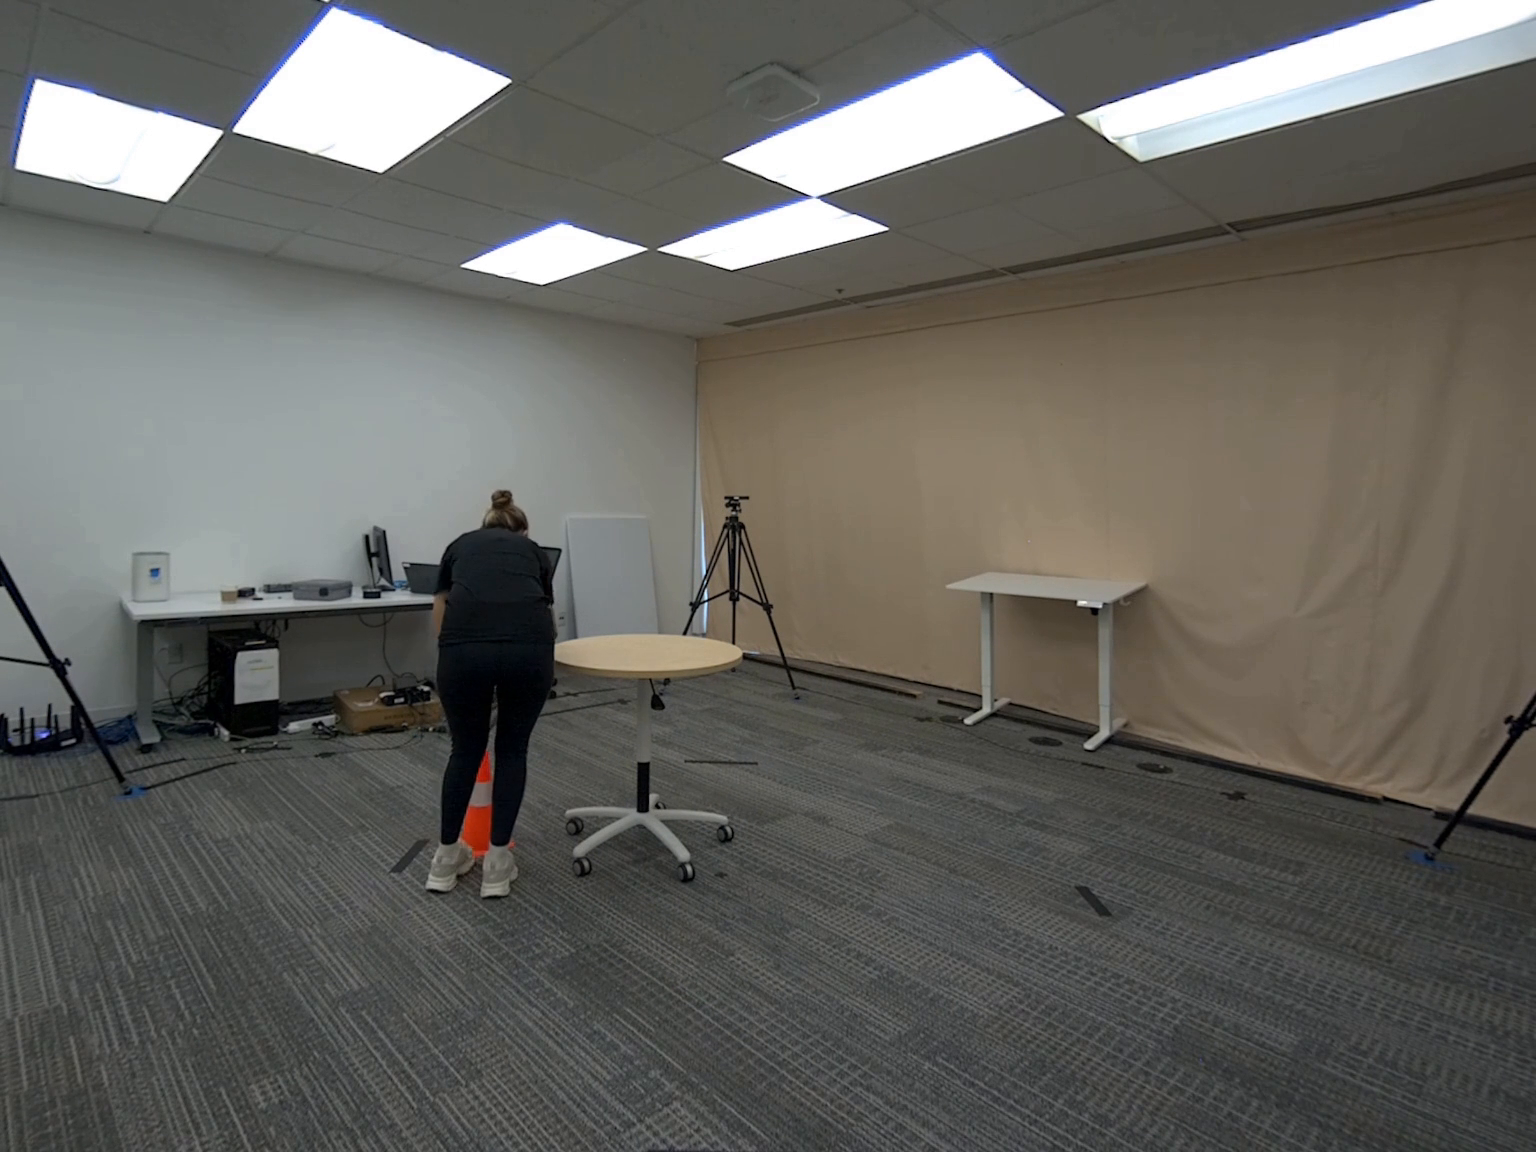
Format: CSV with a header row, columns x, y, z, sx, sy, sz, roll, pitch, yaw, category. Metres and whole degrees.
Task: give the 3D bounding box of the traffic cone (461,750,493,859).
x,y,z,sx,sy,sz,roll,pitch,yaw,category
-1.149,0.882,3.323,0.200,0.383,0.208,-1,3,-37,traffic cone
